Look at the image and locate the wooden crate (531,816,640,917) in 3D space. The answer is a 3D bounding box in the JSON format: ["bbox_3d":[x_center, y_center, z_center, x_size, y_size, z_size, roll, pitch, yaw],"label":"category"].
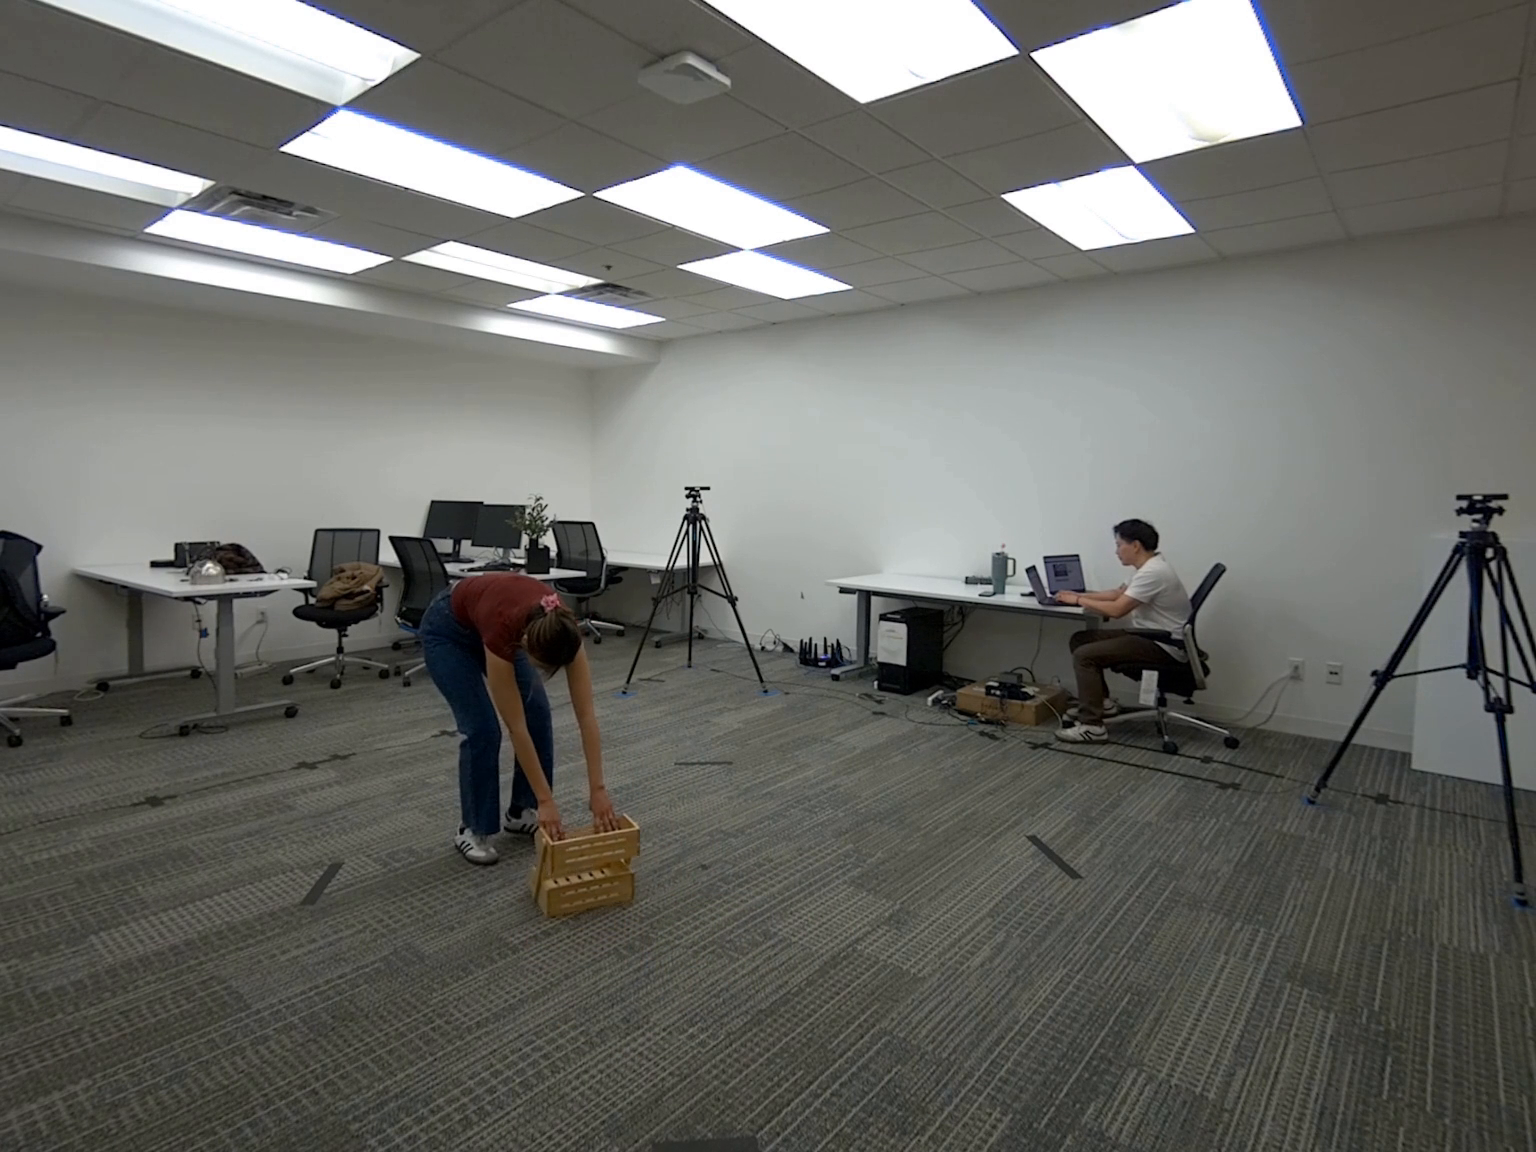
[{"bbox_3d":[-0.638,0.948,2.874,0.316,0.272,0.311,-2,5,-29],"label":"wooden crate"}]
